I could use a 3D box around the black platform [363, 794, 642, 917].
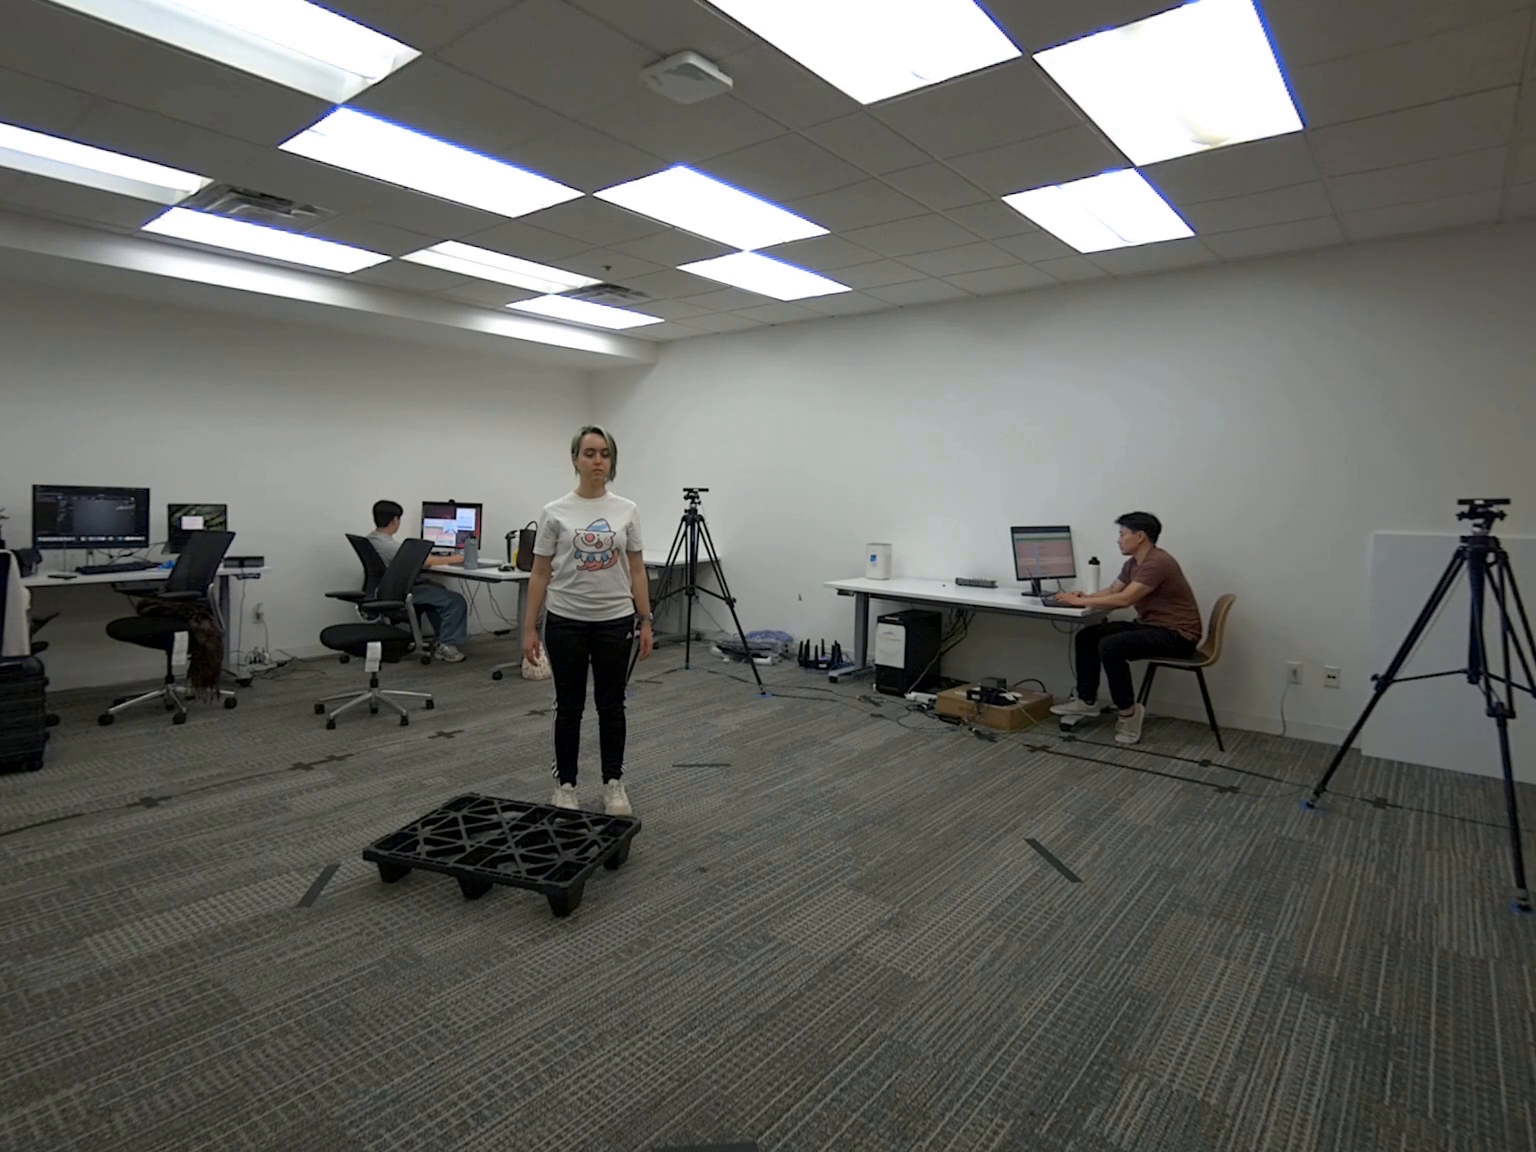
[{"bbox_3d":[-0.947,0.992,3.072,0.821,0.142,0.596,3,7,17],"label":"black platform"}]
